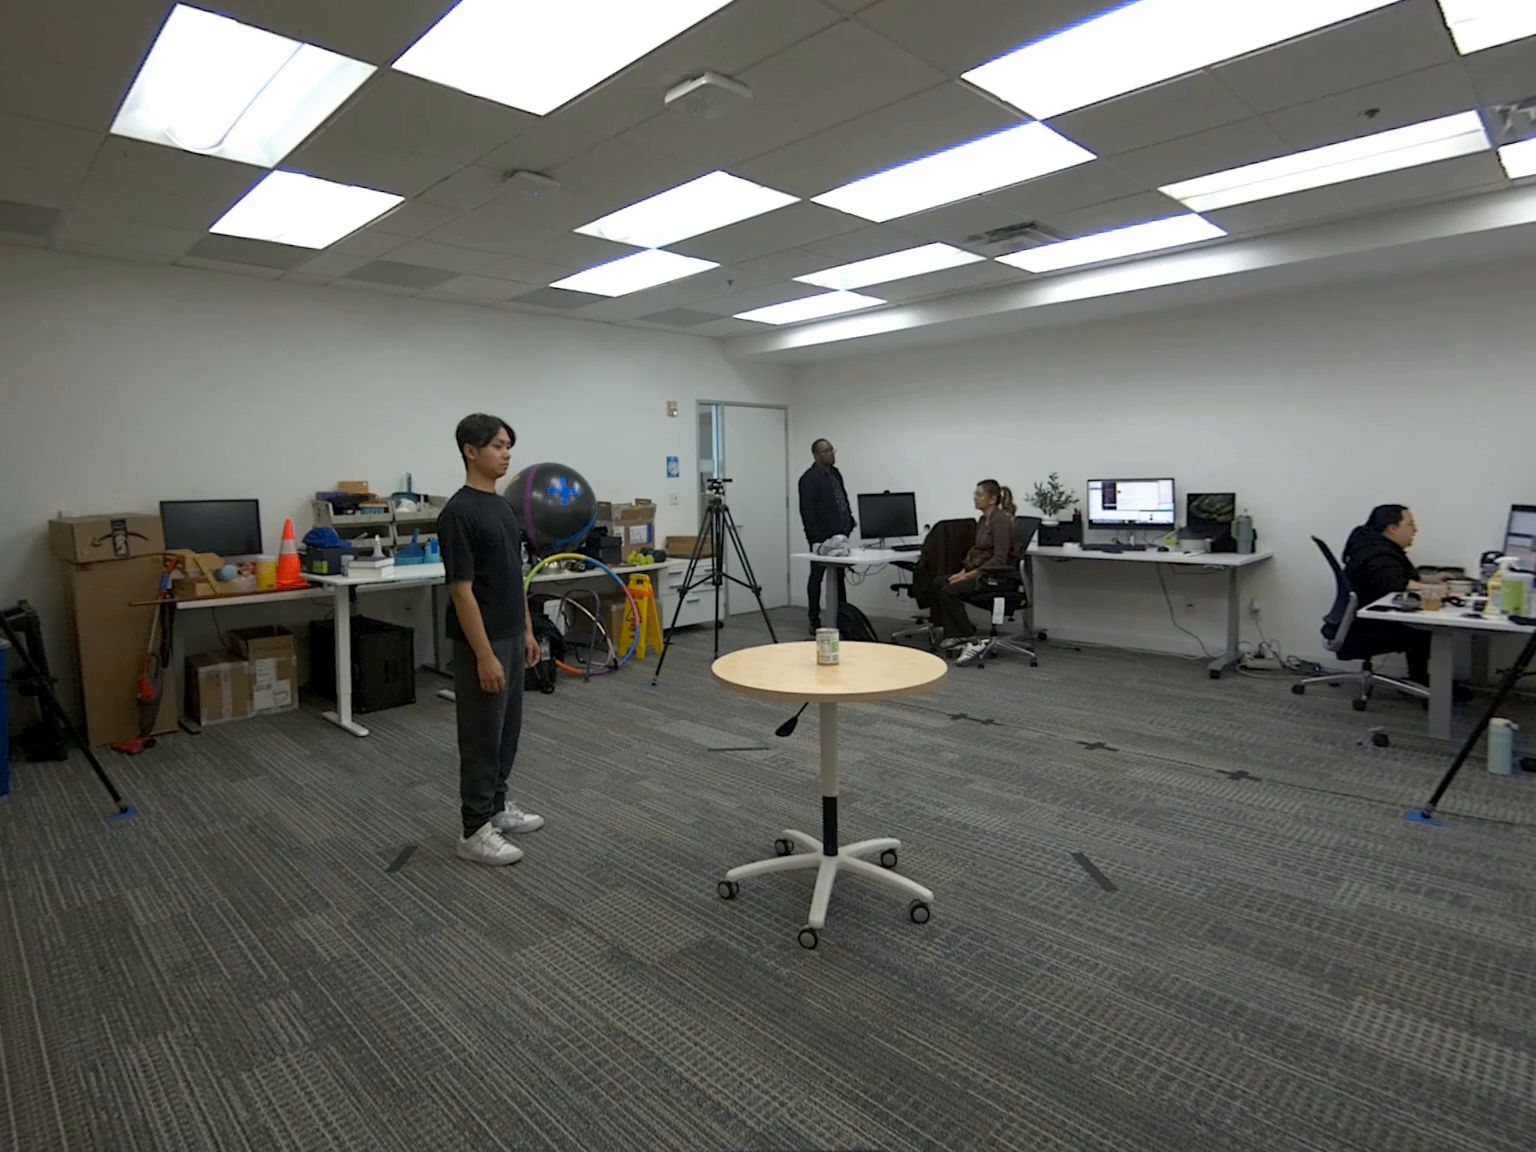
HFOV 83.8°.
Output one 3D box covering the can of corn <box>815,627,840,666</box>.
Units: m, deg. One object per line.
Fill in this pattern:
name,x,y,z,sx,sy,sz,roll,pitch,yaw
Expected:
can of corn,0.195,0.232,2.820,0.074,0.110,0.074,-2,4,-1
